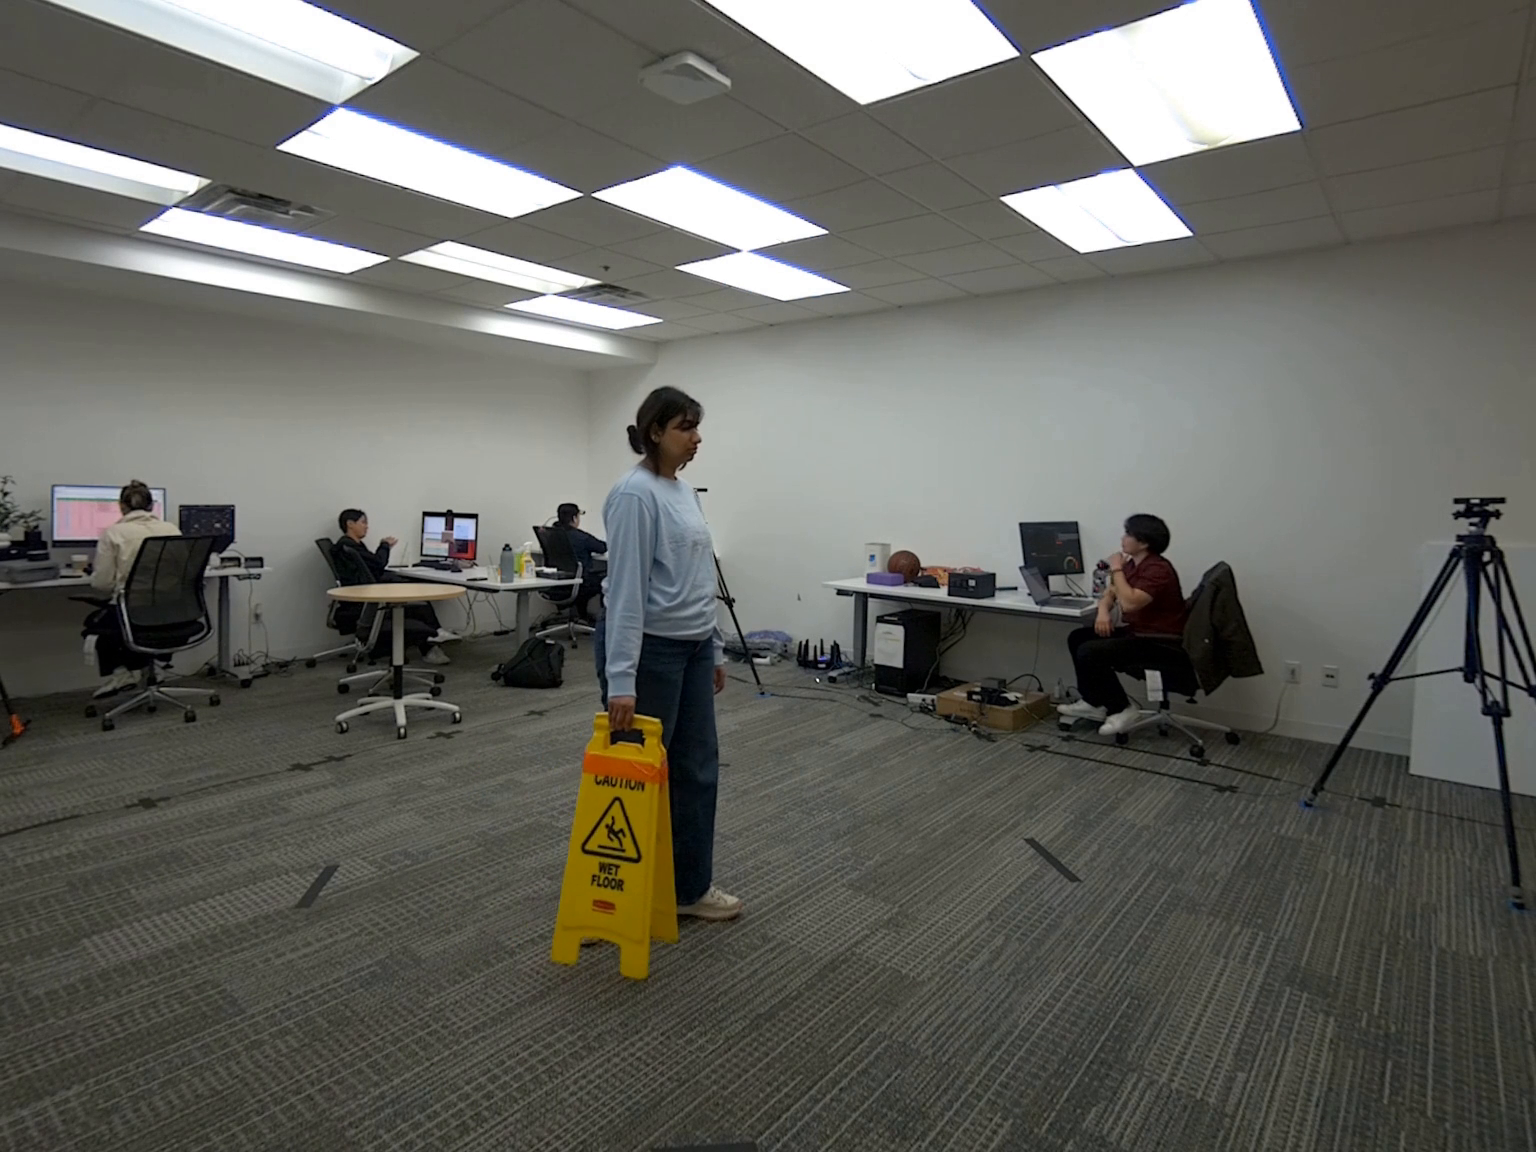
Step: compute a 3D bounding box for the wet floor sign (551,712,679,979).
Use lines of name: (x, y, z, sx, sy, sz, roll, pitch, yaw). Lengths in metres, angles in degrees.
wet floor sign: (-0.413, 0.714, 2.364, 0.287, 0.647, 0.284, 2, -1, 15)
